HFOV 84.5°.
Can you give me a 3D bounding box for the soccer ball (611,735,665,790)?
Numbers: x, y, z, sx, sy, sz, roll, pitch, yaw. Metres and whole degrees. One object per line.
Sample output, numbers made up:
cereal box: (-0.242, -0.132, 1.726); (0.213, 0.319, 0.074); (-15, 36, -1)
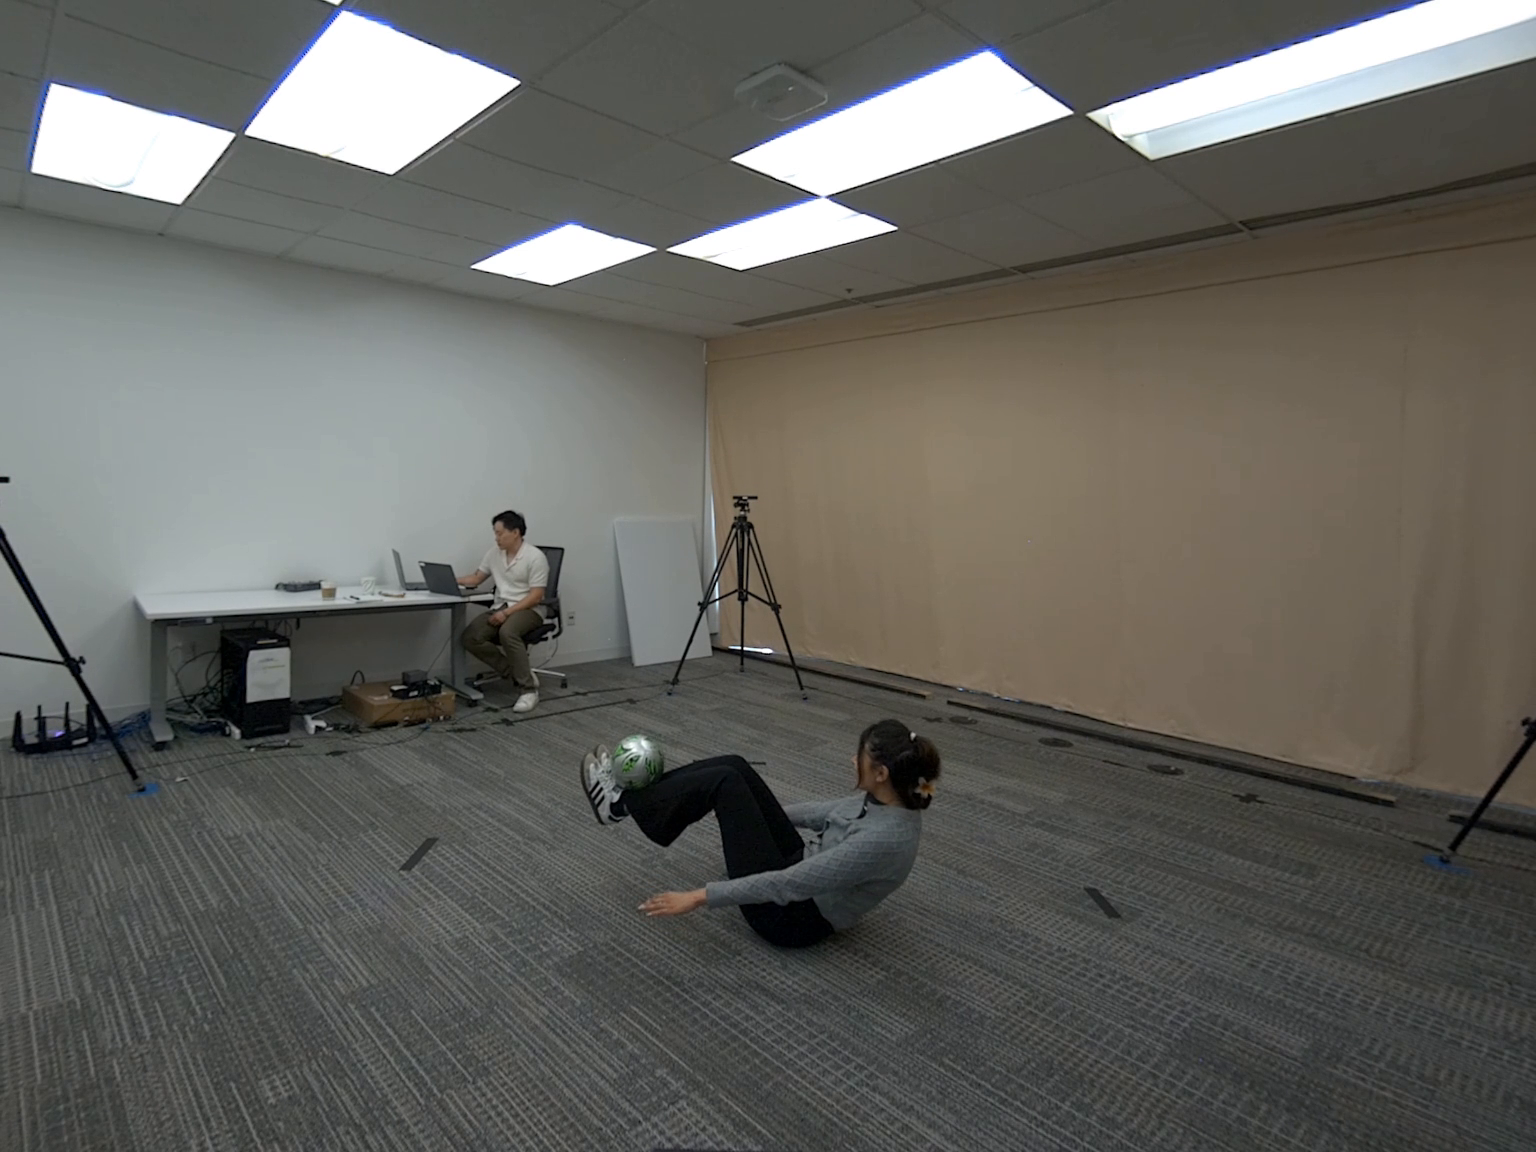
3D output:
soccer ball: (-0.461, 0.644, 2.882); (0.187, 0.187, 0.188); (1, 4, -1)
